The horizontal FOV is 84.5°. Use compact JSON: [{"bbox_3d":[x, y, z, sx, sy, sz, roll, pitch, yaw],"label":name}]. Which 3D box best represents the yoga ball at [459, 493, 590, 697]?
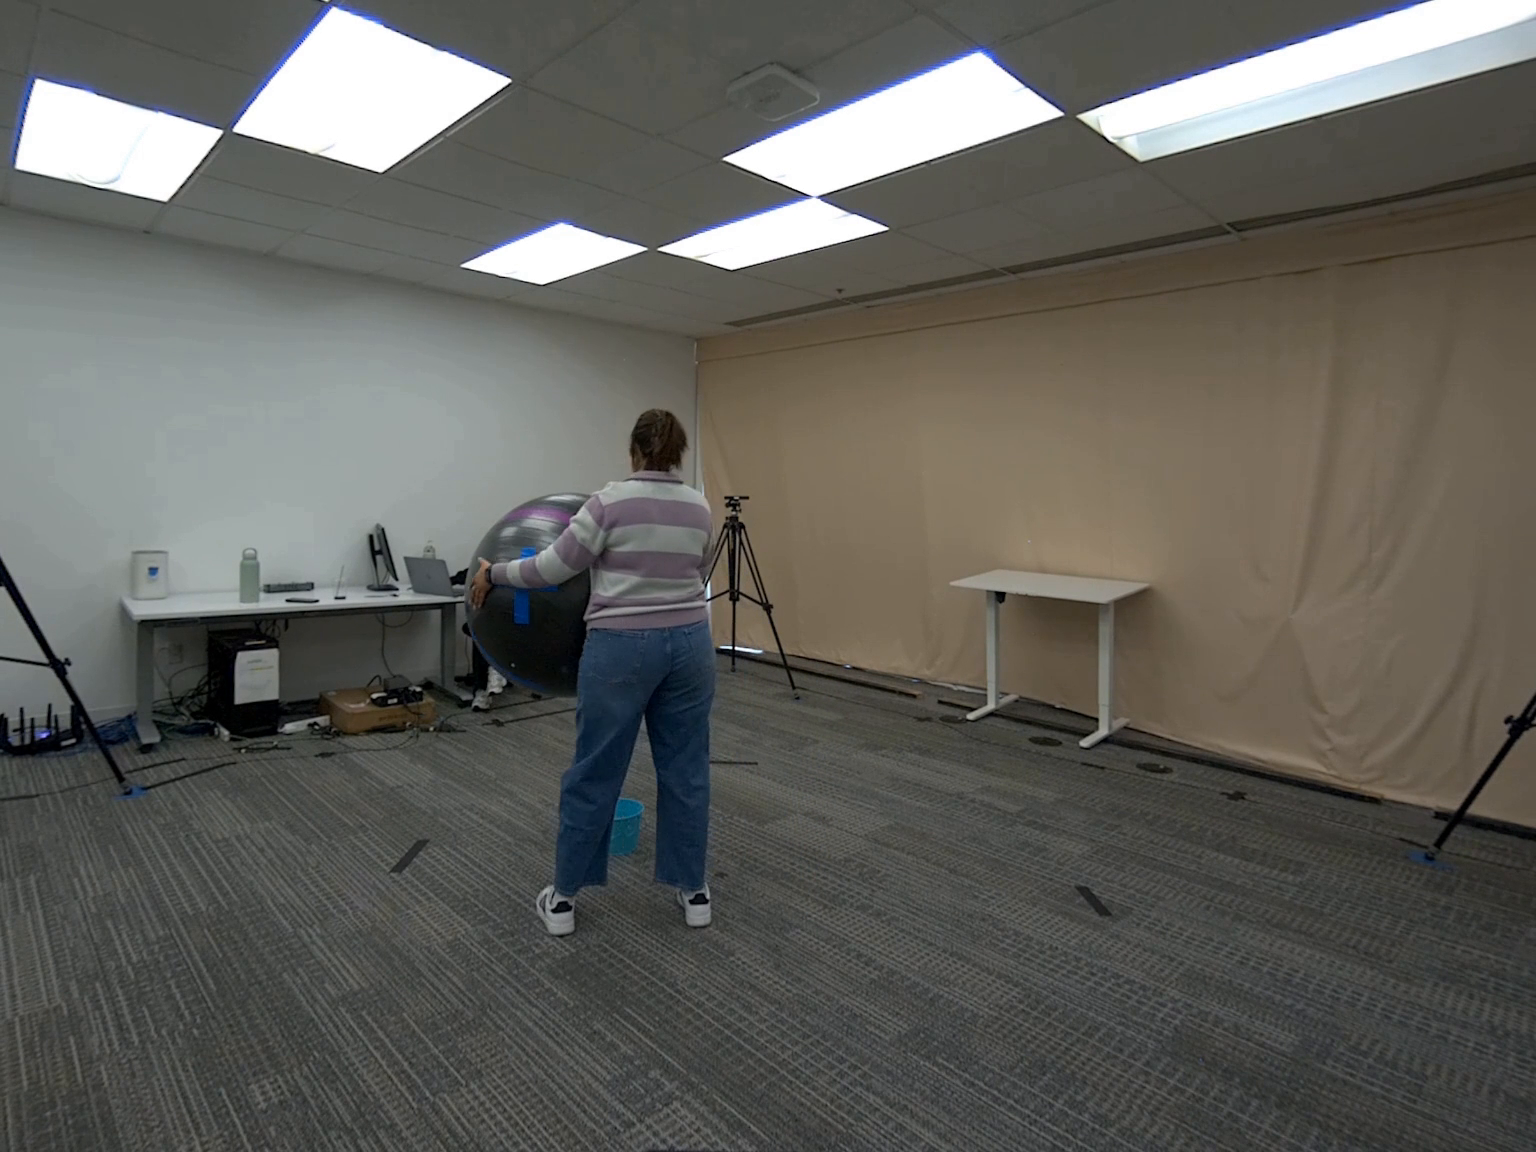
[{"bbox_3d":[-0.756,0.077,3.153,0.757,0.756,0.761,1,4,-1],"label":"yoga ball"}]
